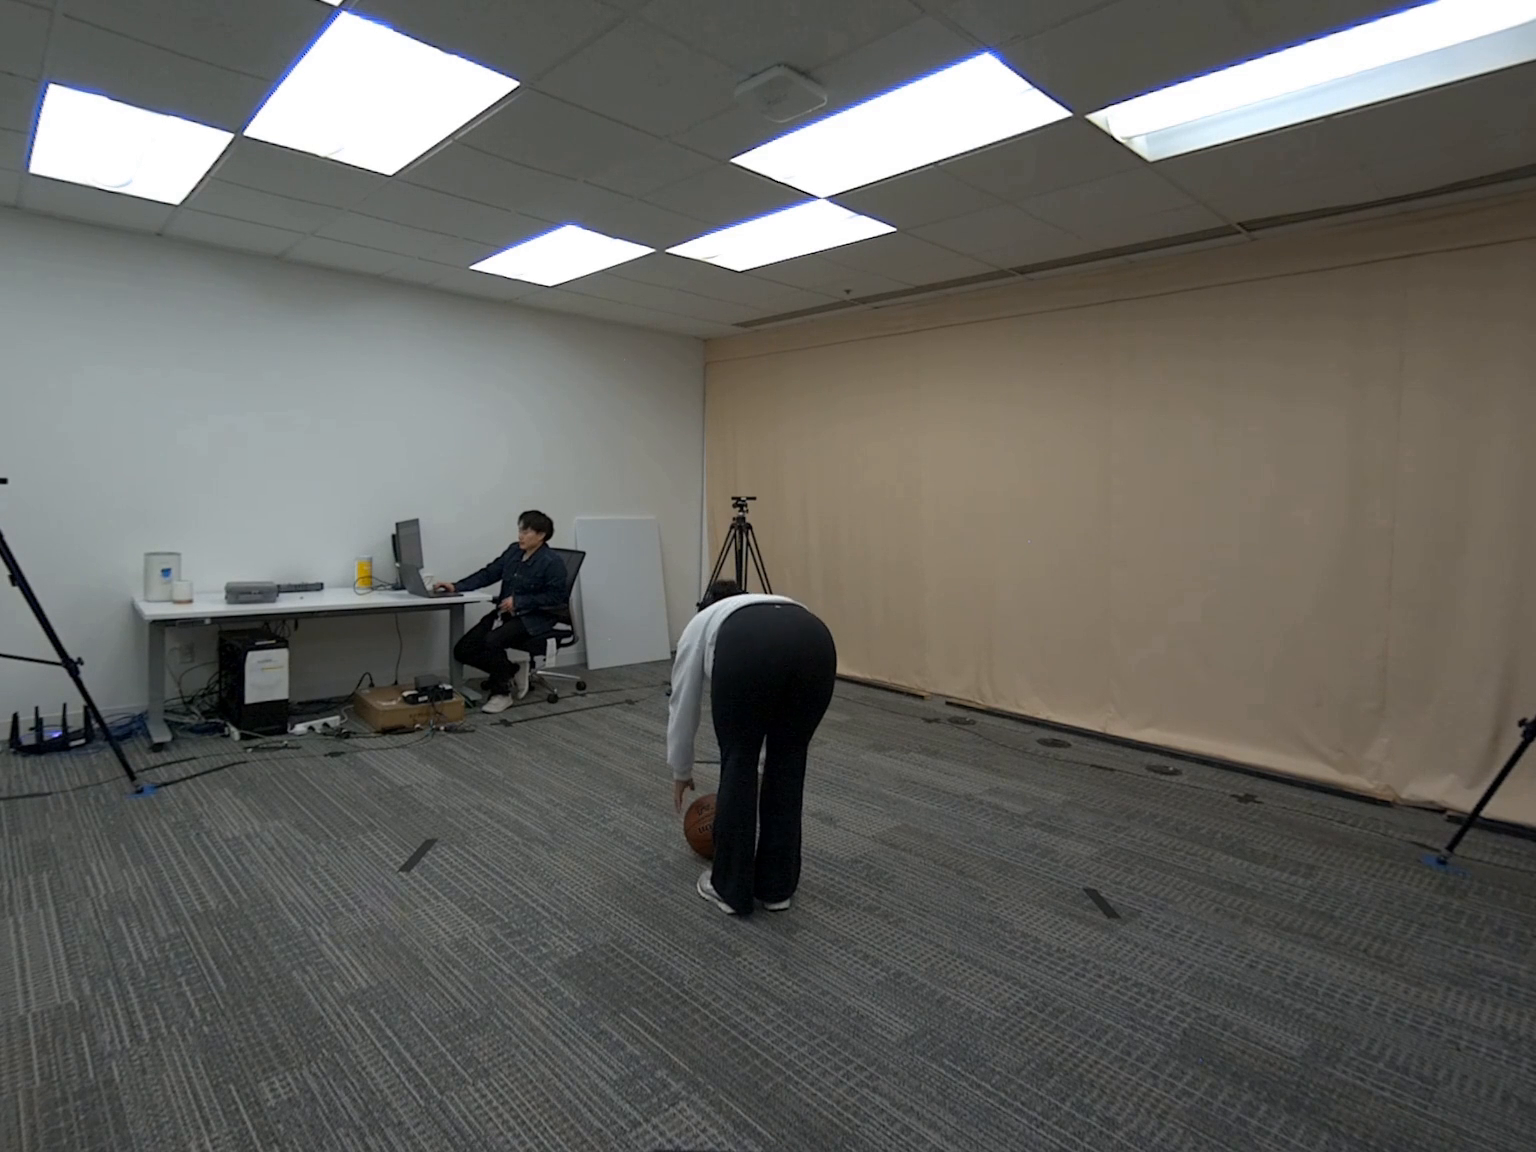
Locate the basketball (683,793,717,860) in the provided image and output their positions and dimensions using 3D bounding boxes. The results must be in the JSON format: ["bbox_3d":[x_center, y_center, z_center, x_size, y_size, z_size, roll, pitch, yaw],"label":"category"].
[{"bbox_3d":[-0.212,0.964,3.263,0.236,0.235,0.237,1,4,-1],"label":"basketball"}]
